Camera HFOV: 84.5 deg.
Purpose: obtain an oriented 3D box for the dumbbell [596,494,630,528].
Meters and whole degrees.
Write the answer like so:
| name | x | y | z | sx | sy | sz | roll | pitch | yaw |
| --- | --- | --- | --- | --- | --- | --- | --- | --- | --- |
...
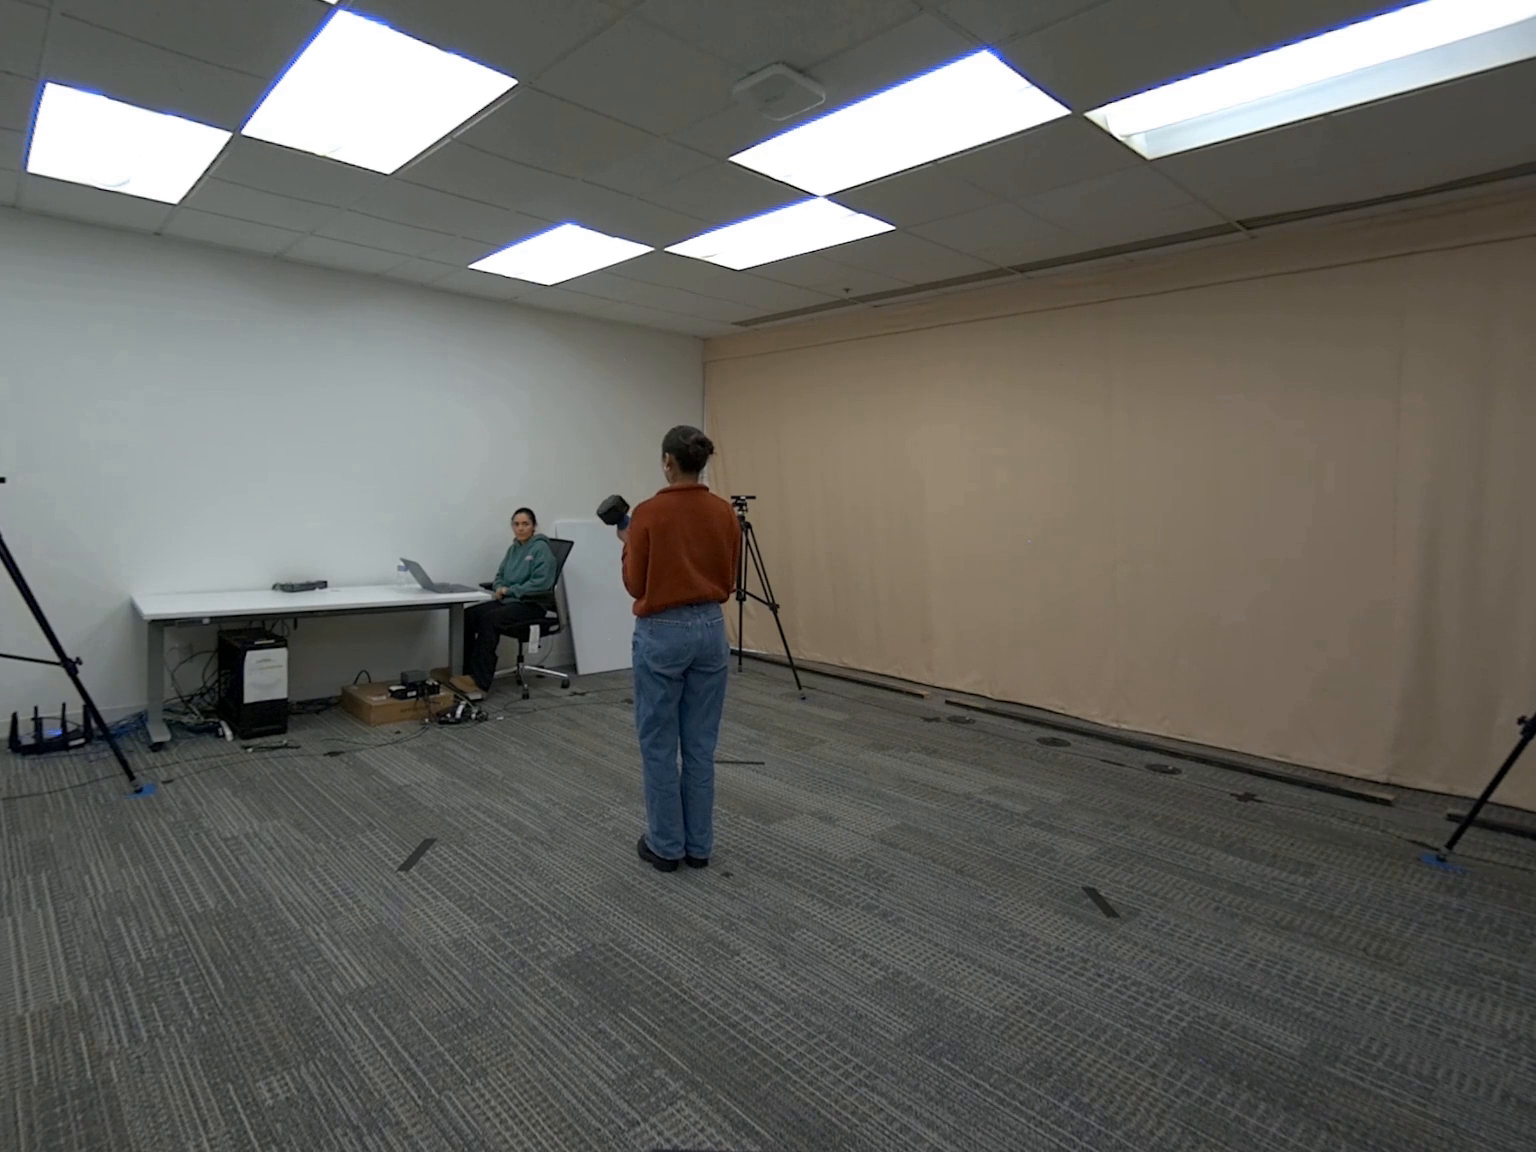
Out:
| name | x | y | z | sx | sy | sz | roll | pitch | yaw |
| --- | --- | --- | --- | --- | --- | --- | --- | --- | --- |
| dumbbell | -0.543 | -0.172 | 3.308 | 0.287 | 0.109 | 0.126 | 49 | -17 | -23 |
